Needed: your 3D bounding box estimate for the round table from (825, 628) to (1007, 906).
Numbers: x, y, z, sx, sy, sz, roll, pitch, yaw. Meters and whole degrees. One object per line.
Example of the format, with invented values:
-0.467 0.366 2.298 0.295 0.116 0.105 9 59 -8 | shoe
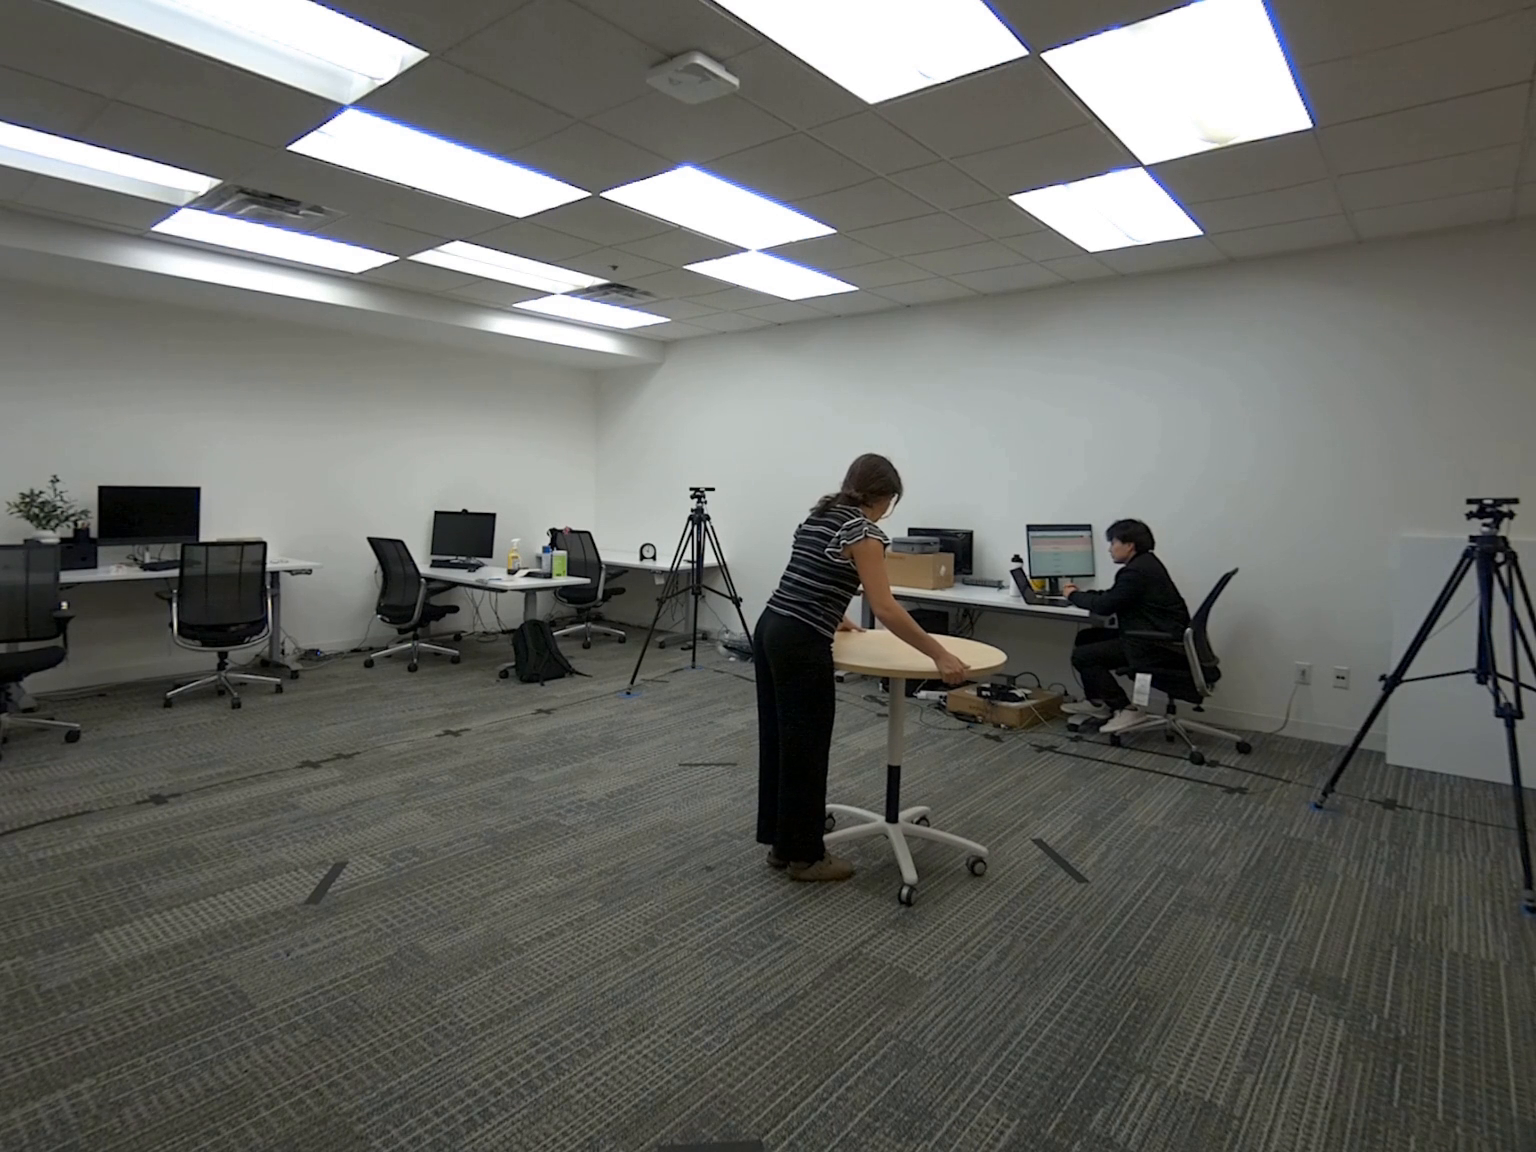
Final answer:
0.472 0.672 3.199 0.763 0.791 0.768 1 5 -2 | round table
